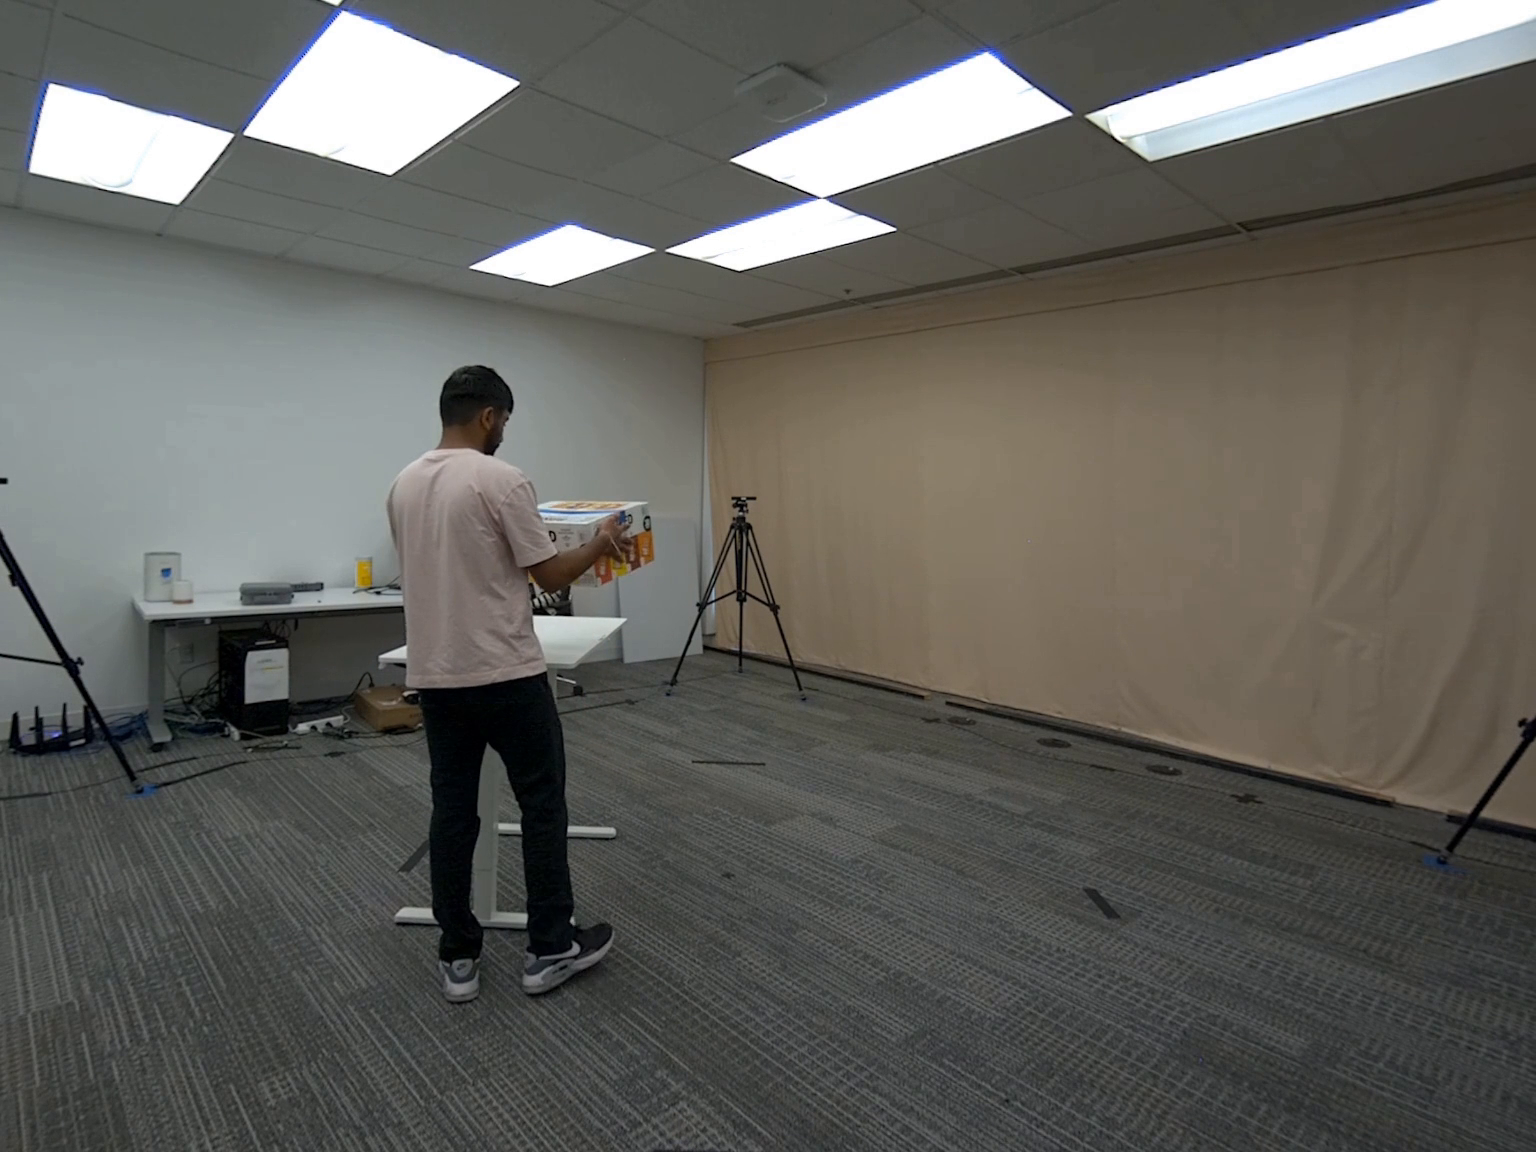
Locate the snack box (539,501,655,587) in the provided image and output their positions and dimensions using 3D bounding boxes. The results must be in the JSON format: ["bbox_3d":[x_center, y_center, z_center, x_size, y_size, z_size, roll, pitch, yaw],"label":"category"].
[{"bbox_3d":[-0.645,-0.113,2.761,0.413,0.203,0.337,2,15,24],"label":"snack box"}]
